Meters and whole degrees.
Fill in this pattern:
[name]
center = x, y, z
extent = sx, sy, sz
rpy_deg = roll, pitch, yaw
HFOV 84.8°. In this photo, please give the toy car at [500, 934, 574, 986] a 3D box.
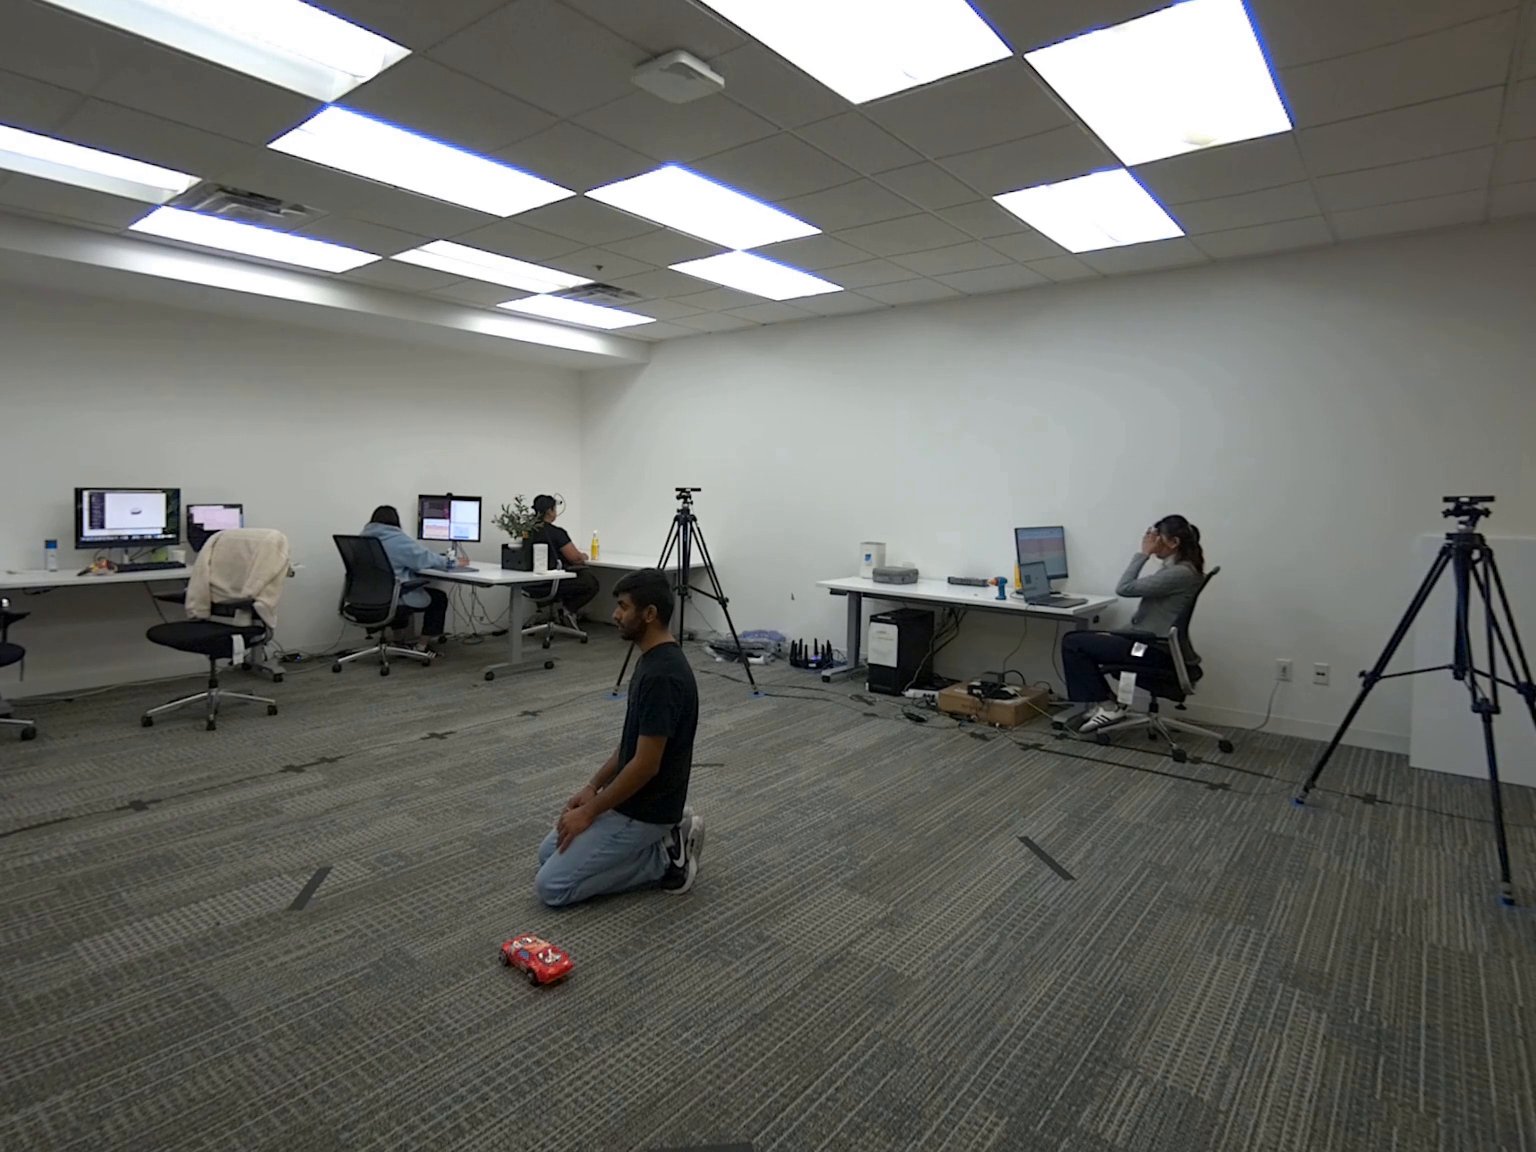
[toy car]
center = -0.667, 1.092, 2.432
extent = 0.261, 0.083, 0.126
rpy_deg = -8, -2, 43
